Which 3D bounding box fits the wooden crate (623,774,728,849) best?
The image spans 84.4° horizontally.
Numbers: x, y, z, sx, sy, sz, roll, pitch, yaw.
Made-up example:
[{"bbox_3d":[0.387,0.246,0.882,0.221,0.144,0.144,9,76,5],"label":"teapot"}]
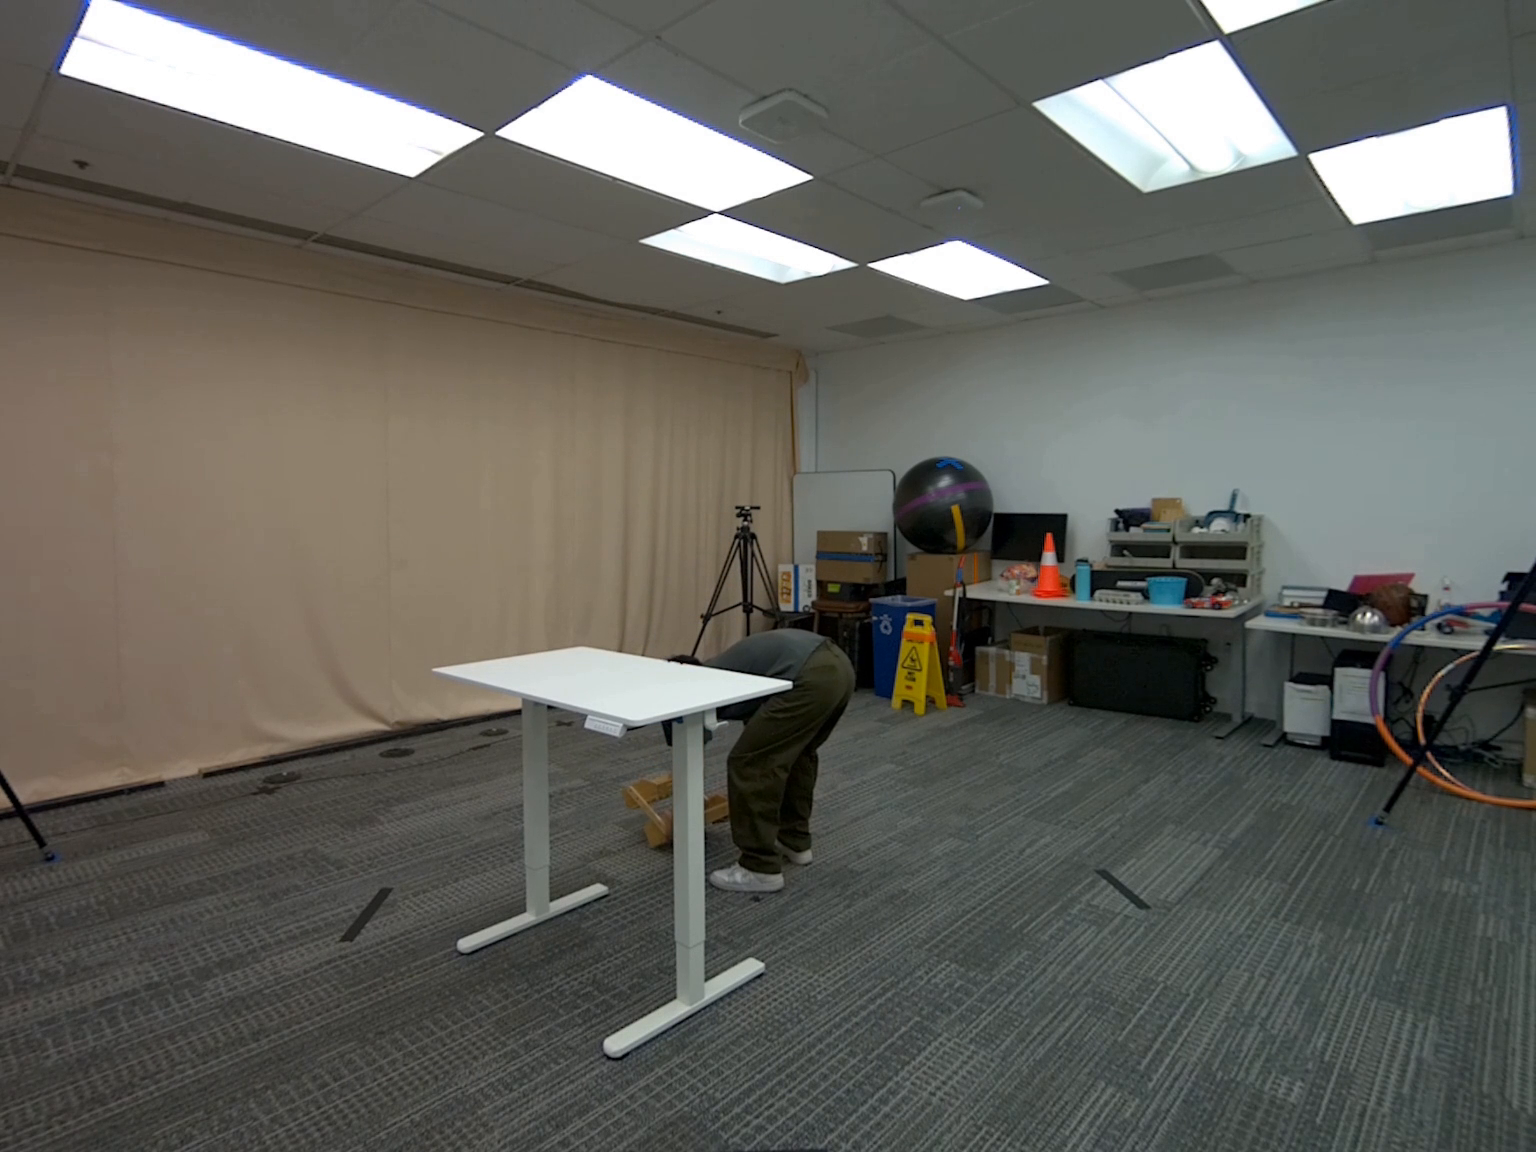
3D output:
[{"bbox_3d":[-0.373,0.933,3.523,0.306,0.278,0.314,-33,-18,32],"label":"wooden crate"}]
